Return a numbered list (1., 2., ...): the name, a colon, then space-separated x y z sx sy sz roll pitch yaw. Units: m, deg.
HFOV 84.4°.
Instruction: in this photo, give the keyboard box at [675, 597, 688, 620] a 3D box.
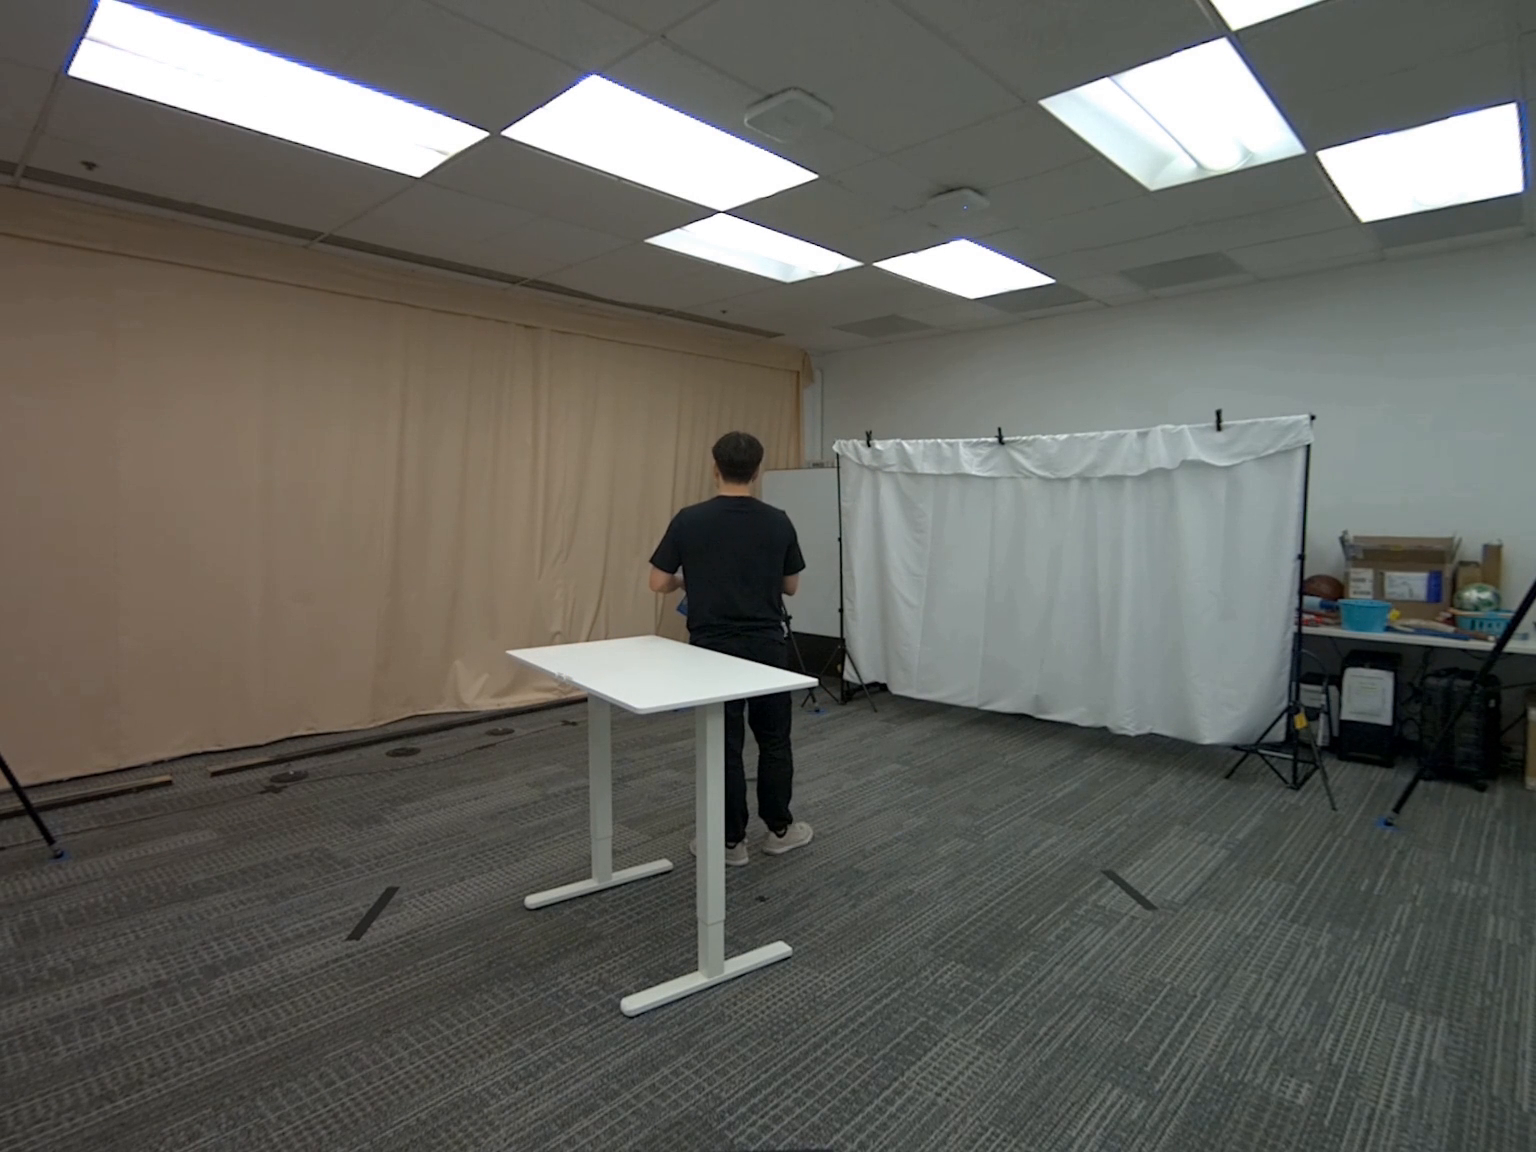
1. keyboard box: -0.188 0.022 3.572 0.175 0.436 0.059 33 -29 -3
